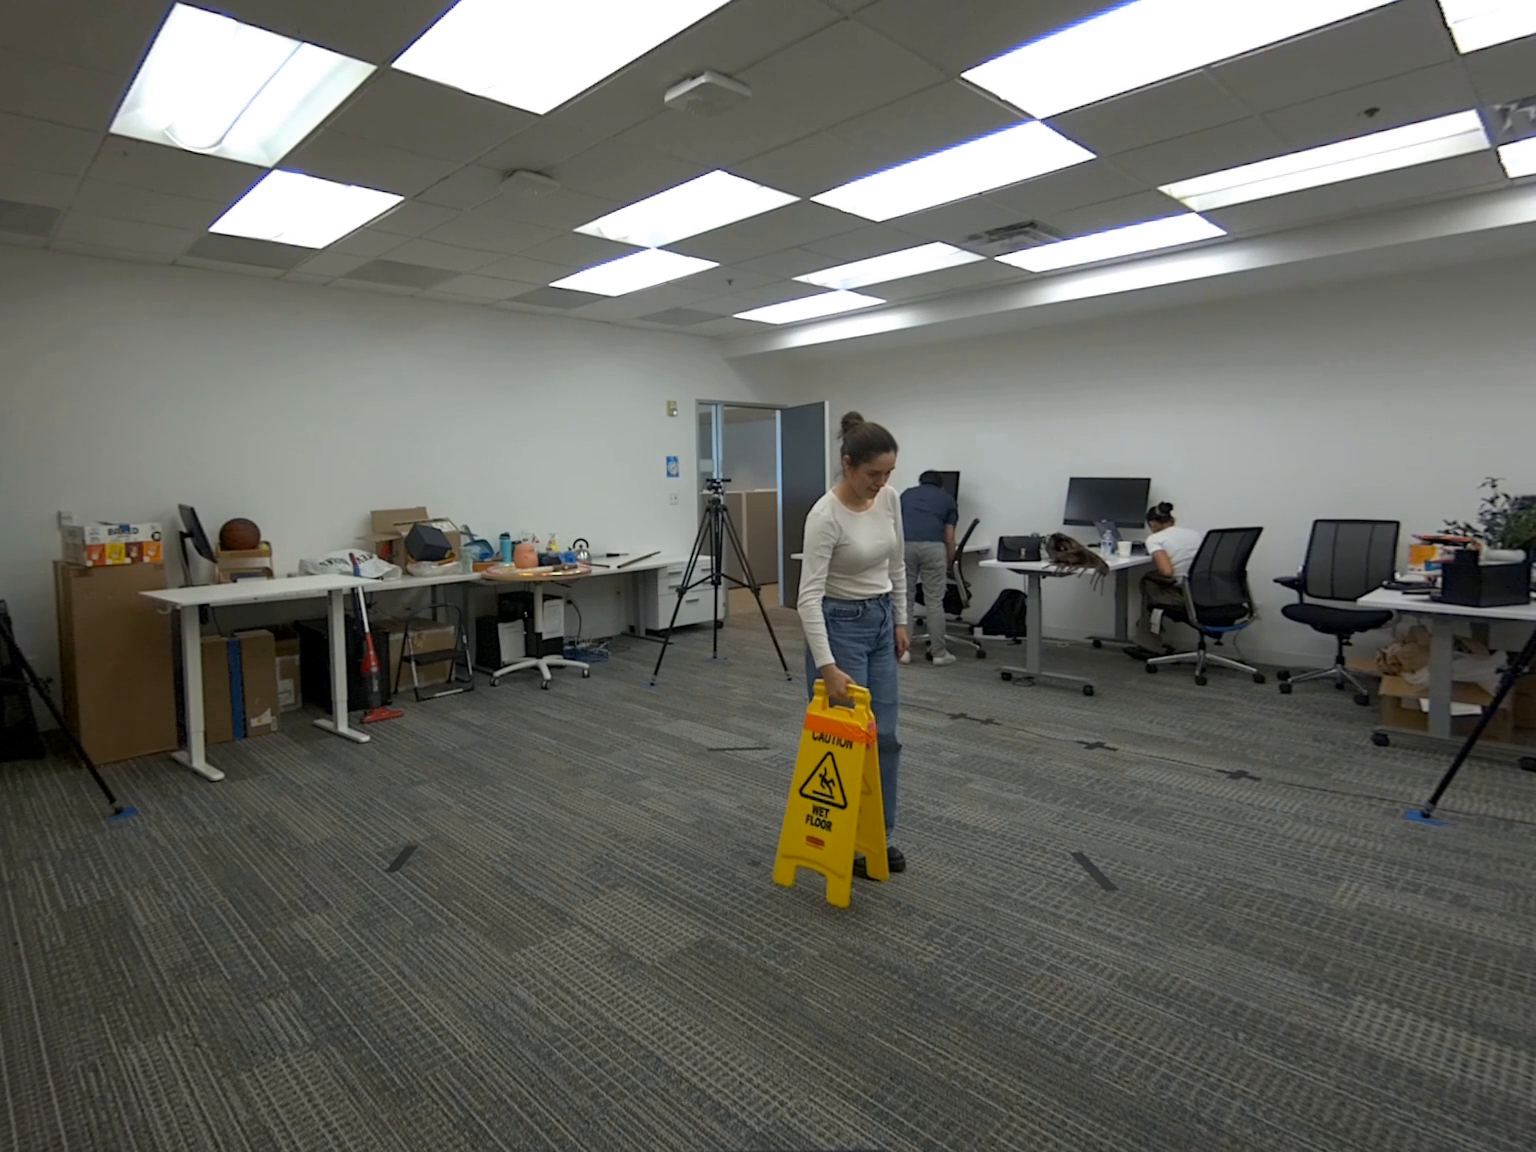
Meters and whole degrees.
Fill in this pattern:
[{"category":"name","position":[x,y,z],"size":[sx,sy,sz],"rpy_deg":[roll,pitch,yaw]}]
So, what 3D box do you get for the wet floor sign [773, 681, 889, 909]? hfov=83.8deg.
[{"category":"wet floor sign","position":[0.225,0.675,2.768],"size":[0.291,0.645,0.281],"rpy_deg":[3,2,37]}]
